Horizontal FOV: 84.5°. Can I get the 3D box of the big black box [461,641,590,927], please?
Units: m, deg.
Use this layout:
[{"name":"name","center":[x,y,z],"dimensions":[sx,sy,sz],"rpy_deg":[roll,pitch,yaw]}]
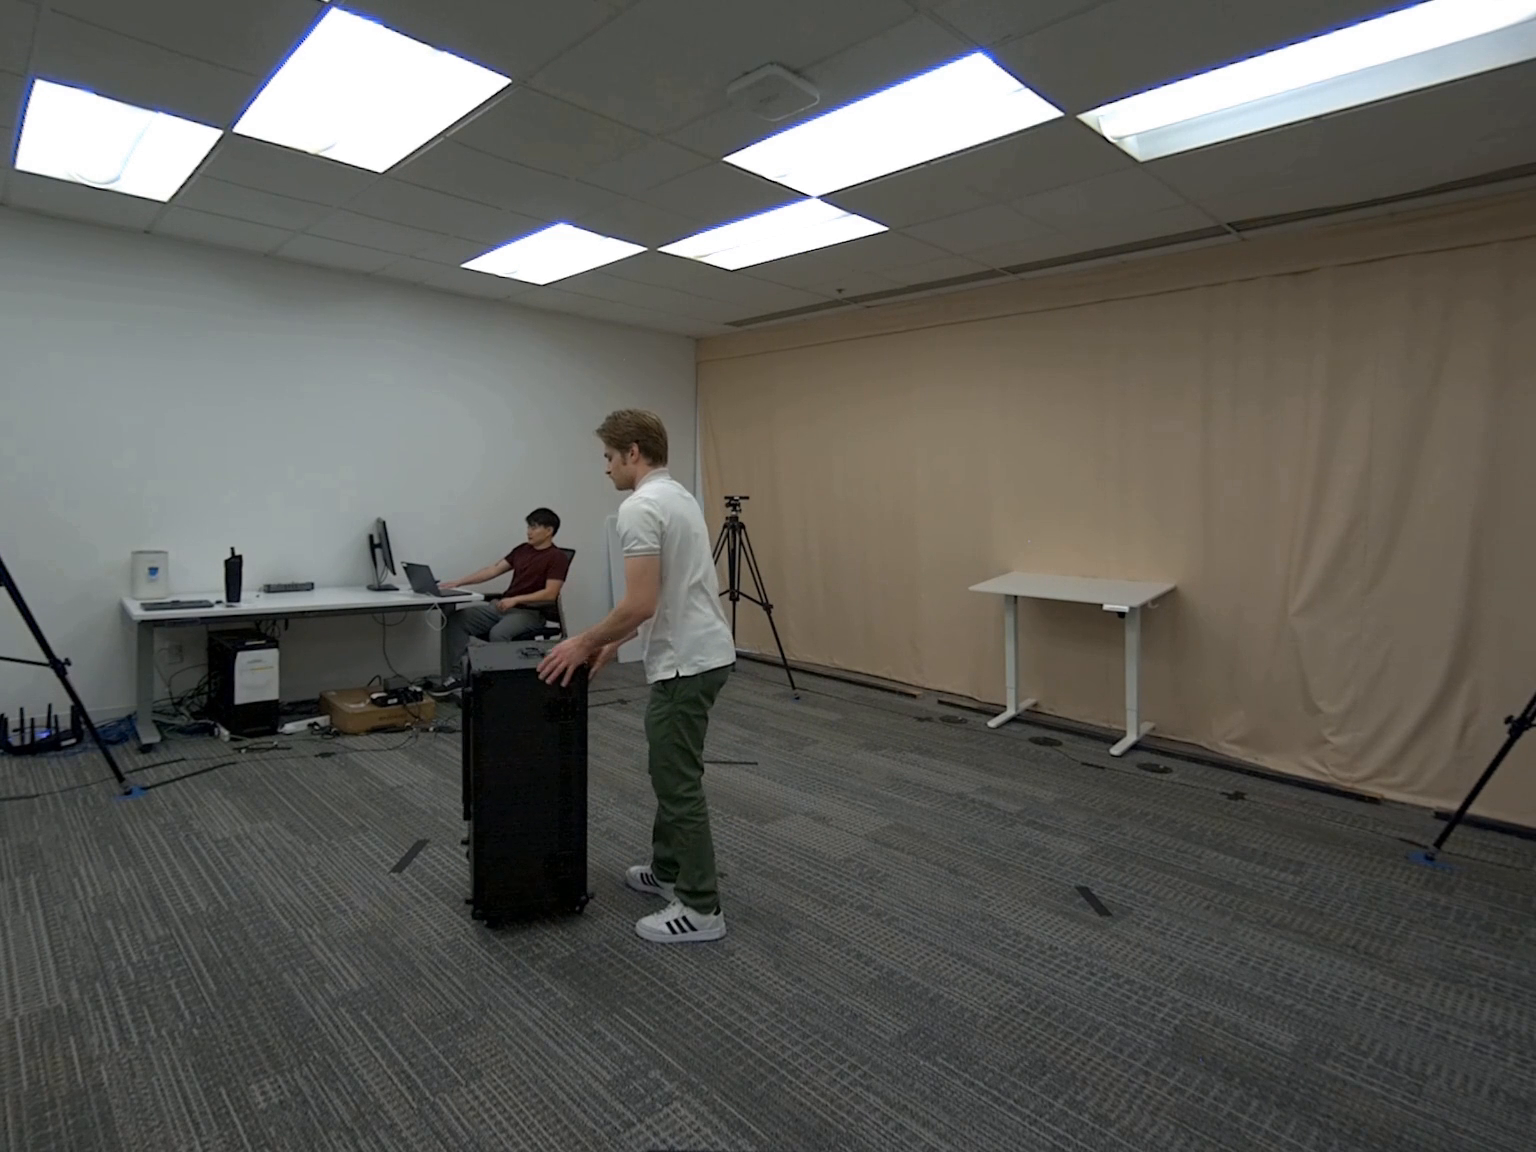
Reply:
[{"name":"big black box","center":[-0.830,0.689,2.846],"dimensions":[0.379,0.866,0.533],"rpy_deg":[-1,5,-22]}]
